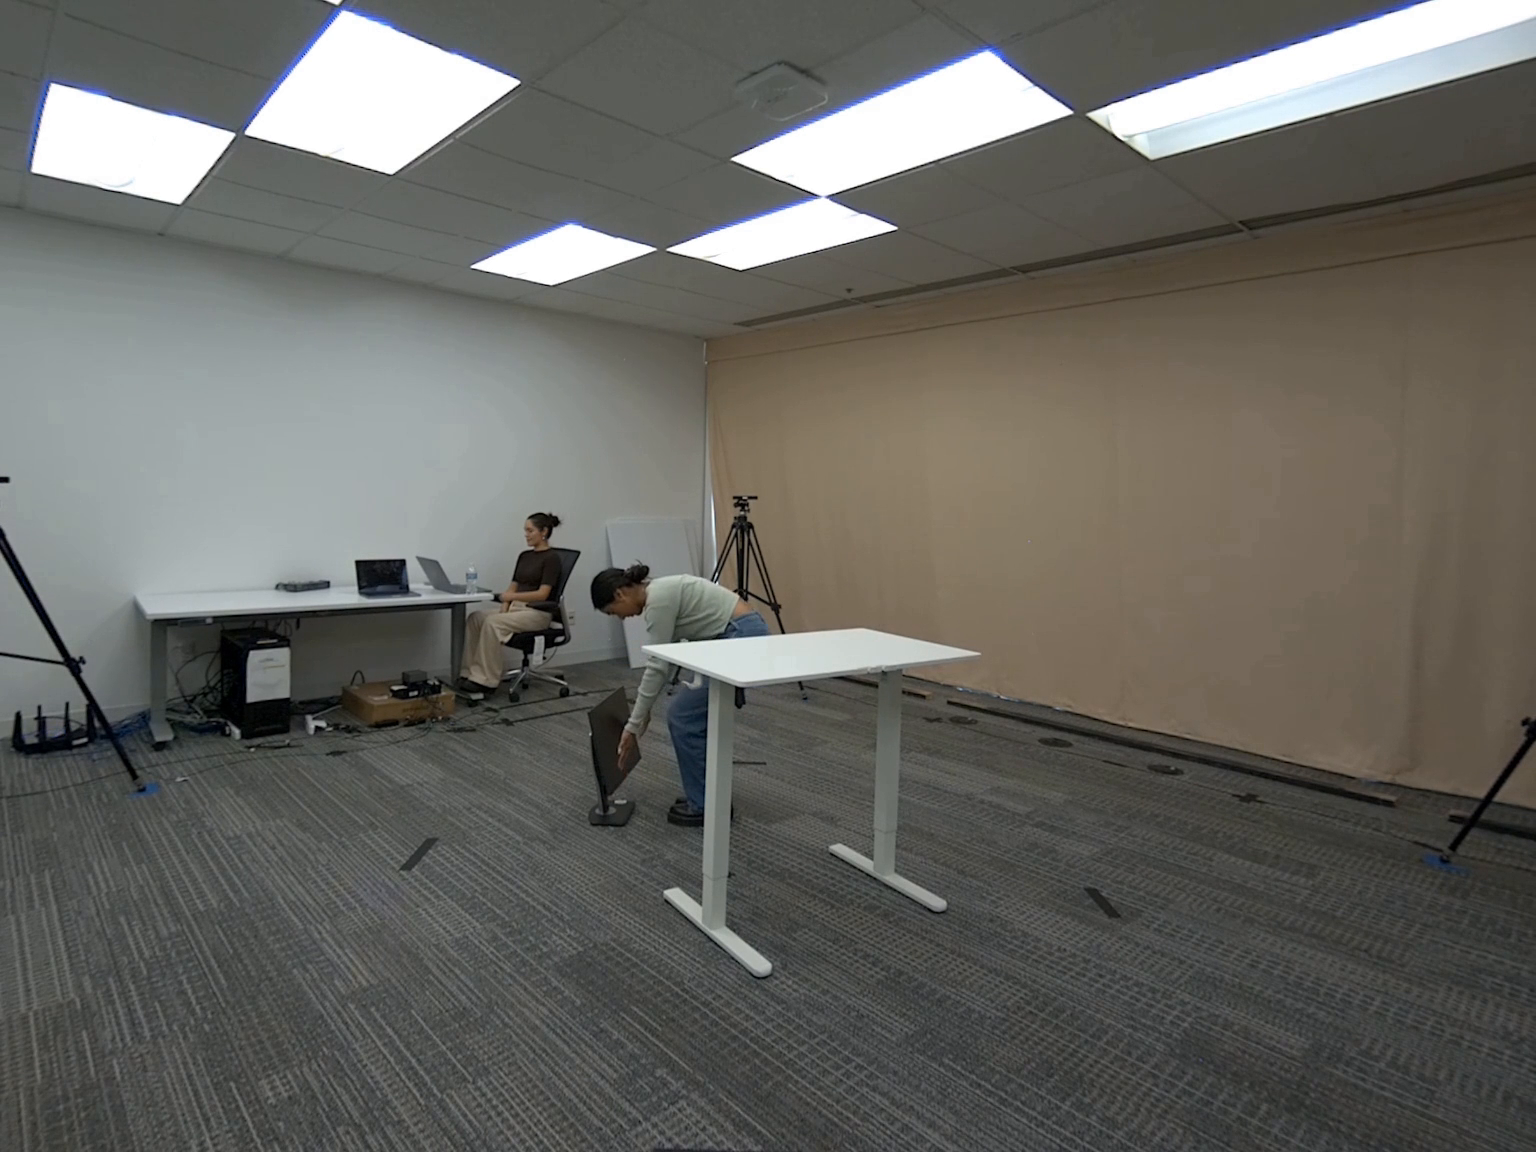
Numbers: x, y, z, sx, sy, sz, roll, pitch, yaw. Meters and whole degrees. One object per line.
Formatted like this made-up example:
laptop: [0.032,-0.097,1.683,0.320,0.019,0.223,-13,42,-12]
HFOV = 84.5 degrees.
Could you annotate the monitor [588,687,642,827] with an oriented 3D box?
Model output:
monitor: [-0.686,0.784,3.662,0.187,0.522,0.538,0,2,2]
